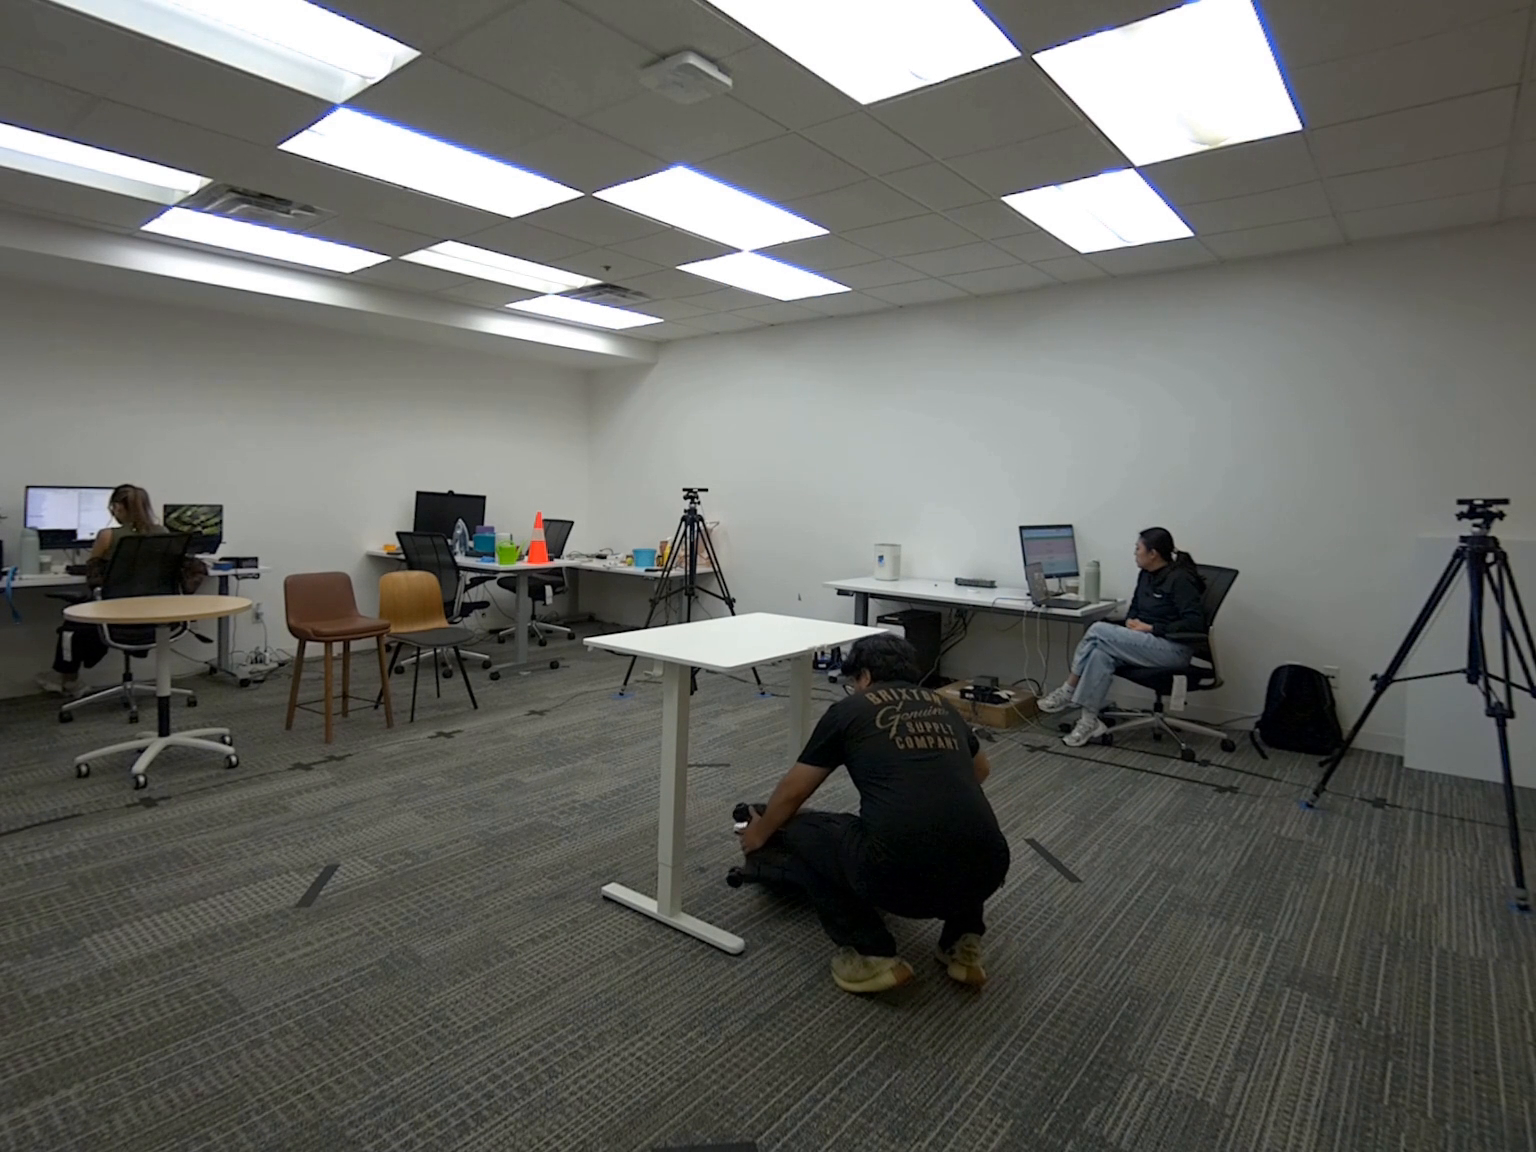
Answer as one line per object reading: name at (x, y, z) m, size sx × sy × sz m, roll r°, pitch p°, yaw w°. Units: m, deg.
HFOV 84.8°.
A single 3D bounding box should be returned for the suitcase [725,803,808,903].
suitcase at (0.156, 0.926, 2.892) m, size 0.557 × 0.252 × 0.364 m, roll 2°, pitch -21°, yaw 11°
